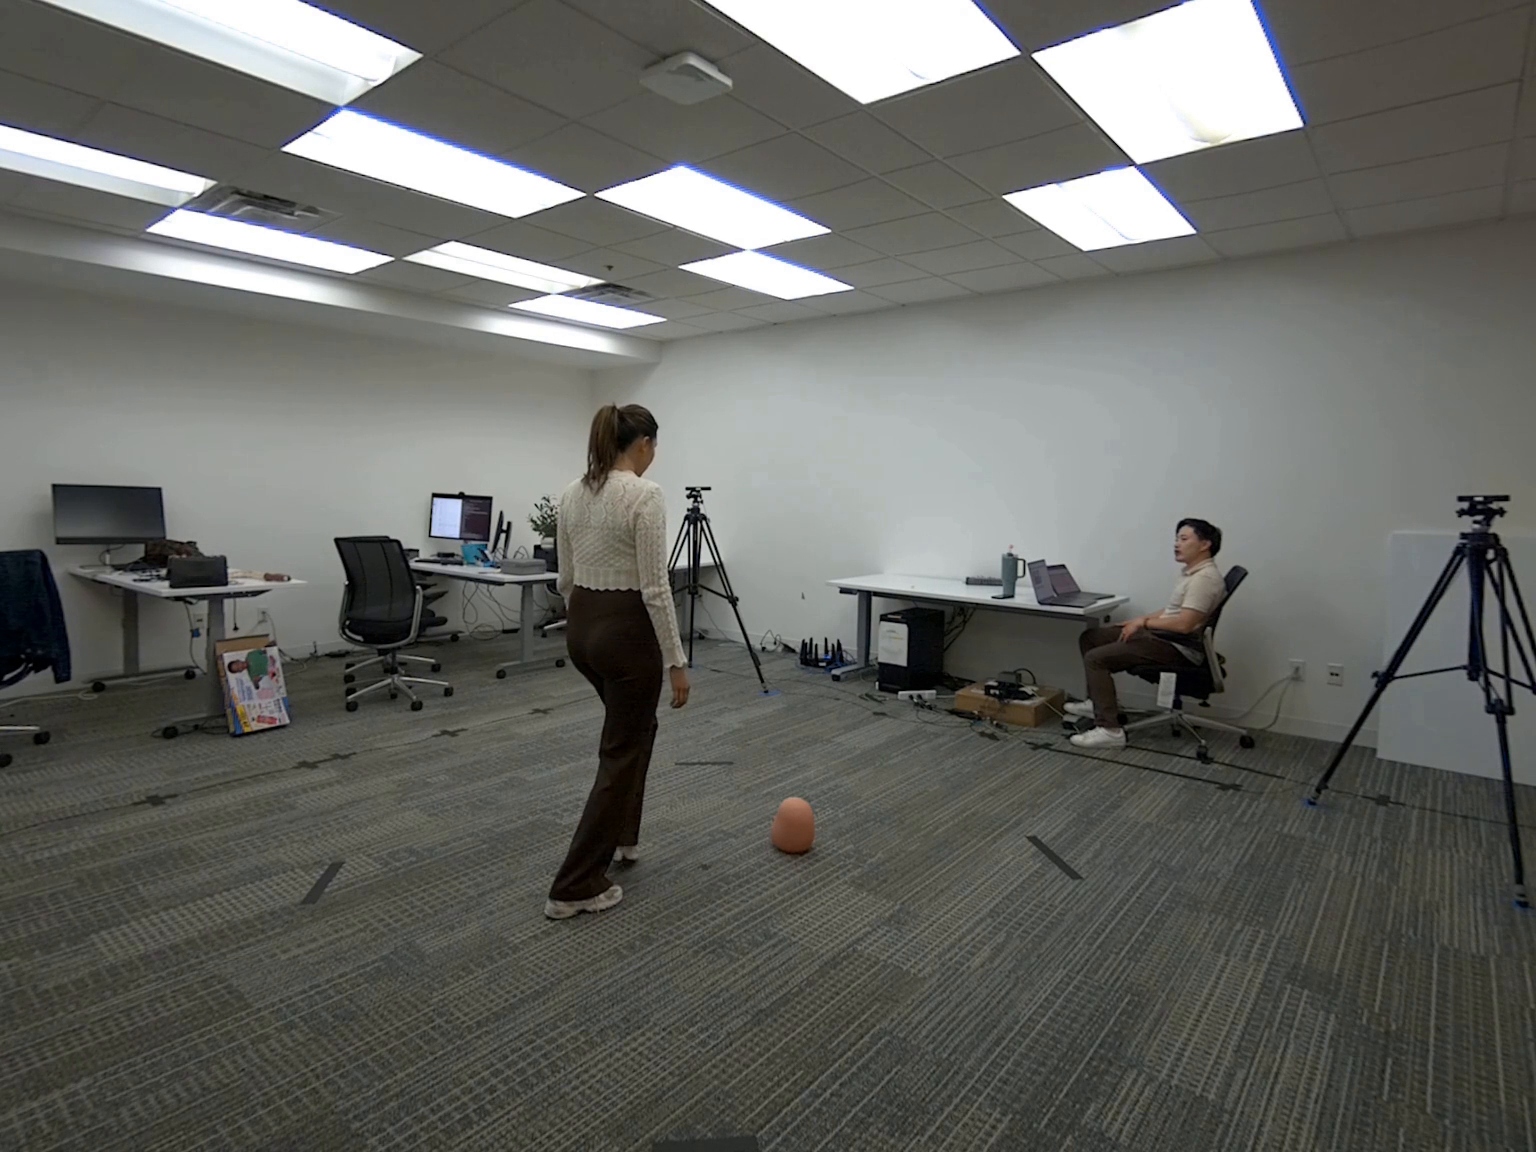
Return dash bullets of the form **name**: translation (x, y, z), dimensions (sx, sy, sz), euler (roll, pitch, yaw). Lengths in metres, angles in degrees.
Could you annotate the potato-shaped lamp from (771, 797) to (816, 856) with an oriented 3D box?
- **potato-shaped lamp**: translation (0.090, 0.950, 3.292), dimensions (0.161, 0.196, 0.177), euler (-4, 12, -27)
